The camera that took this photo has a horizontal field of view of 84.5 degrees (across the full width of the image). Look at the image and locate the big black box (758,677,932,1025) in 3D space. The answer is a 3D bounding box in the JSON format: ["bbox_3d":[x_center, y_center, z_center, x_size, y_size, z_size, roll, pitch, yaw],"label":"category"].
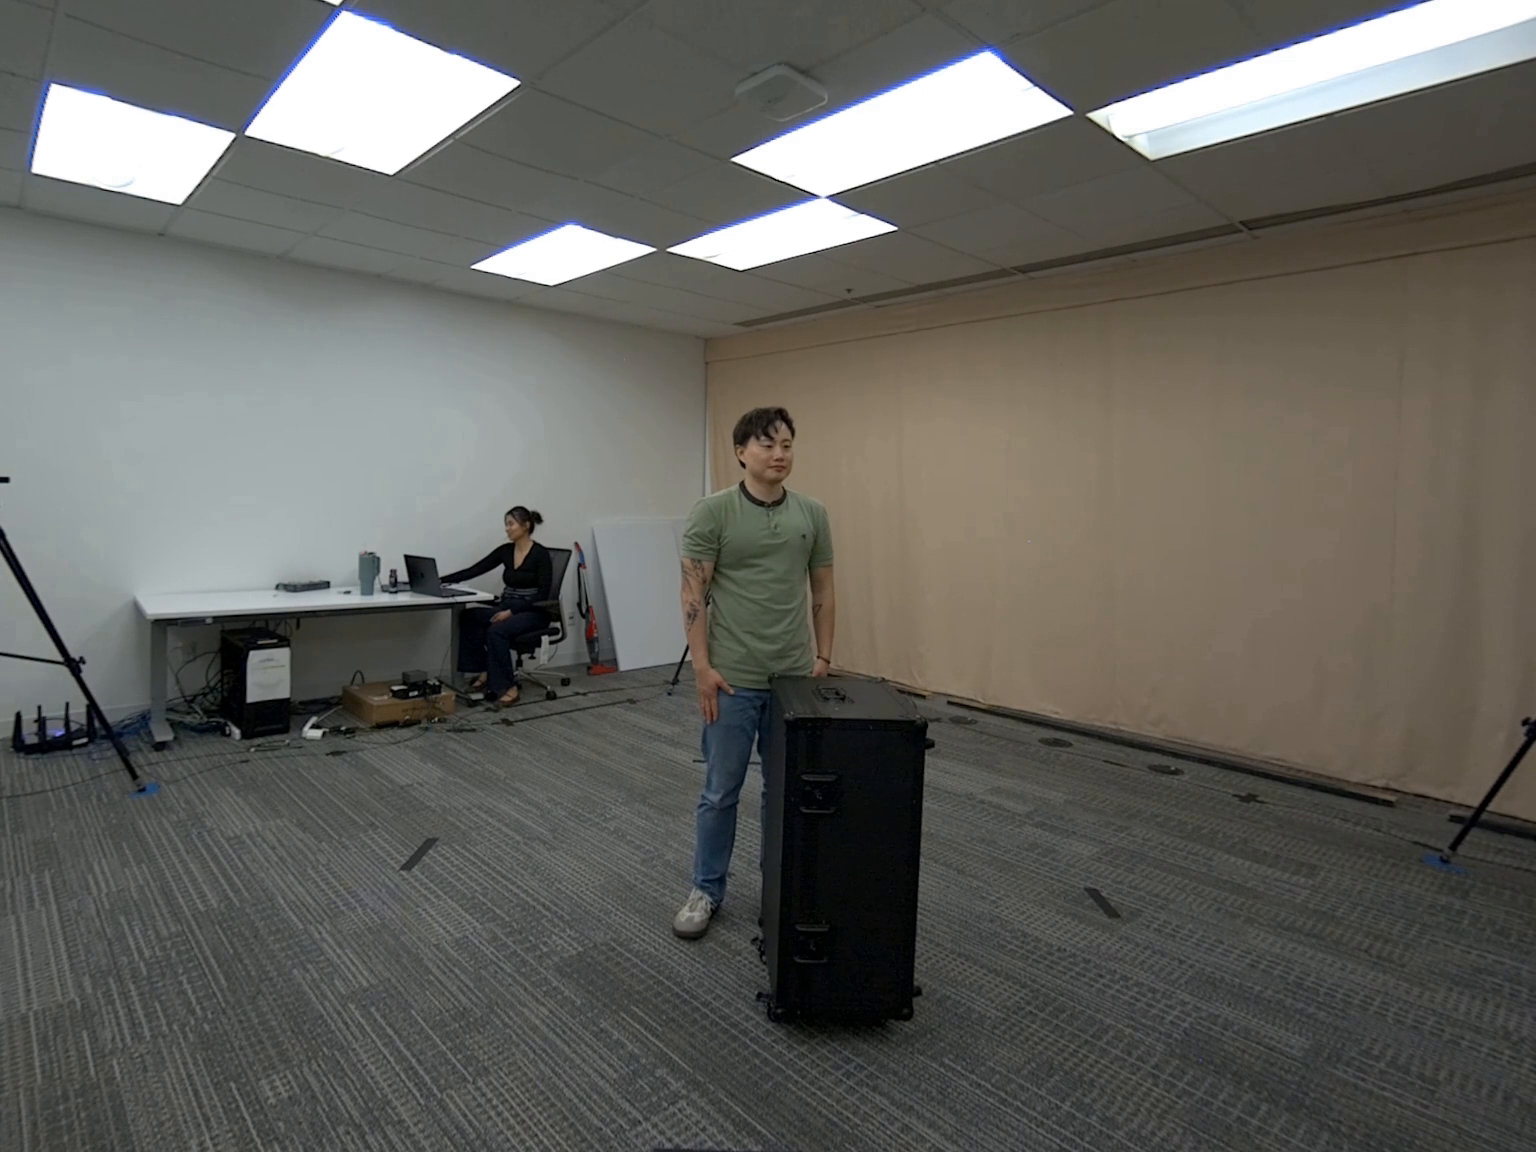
[{"bbox_3d":[0.190,0.755,2.357,0.395,0.859,0.524,3,4,-3],"label":"big black box"}]
